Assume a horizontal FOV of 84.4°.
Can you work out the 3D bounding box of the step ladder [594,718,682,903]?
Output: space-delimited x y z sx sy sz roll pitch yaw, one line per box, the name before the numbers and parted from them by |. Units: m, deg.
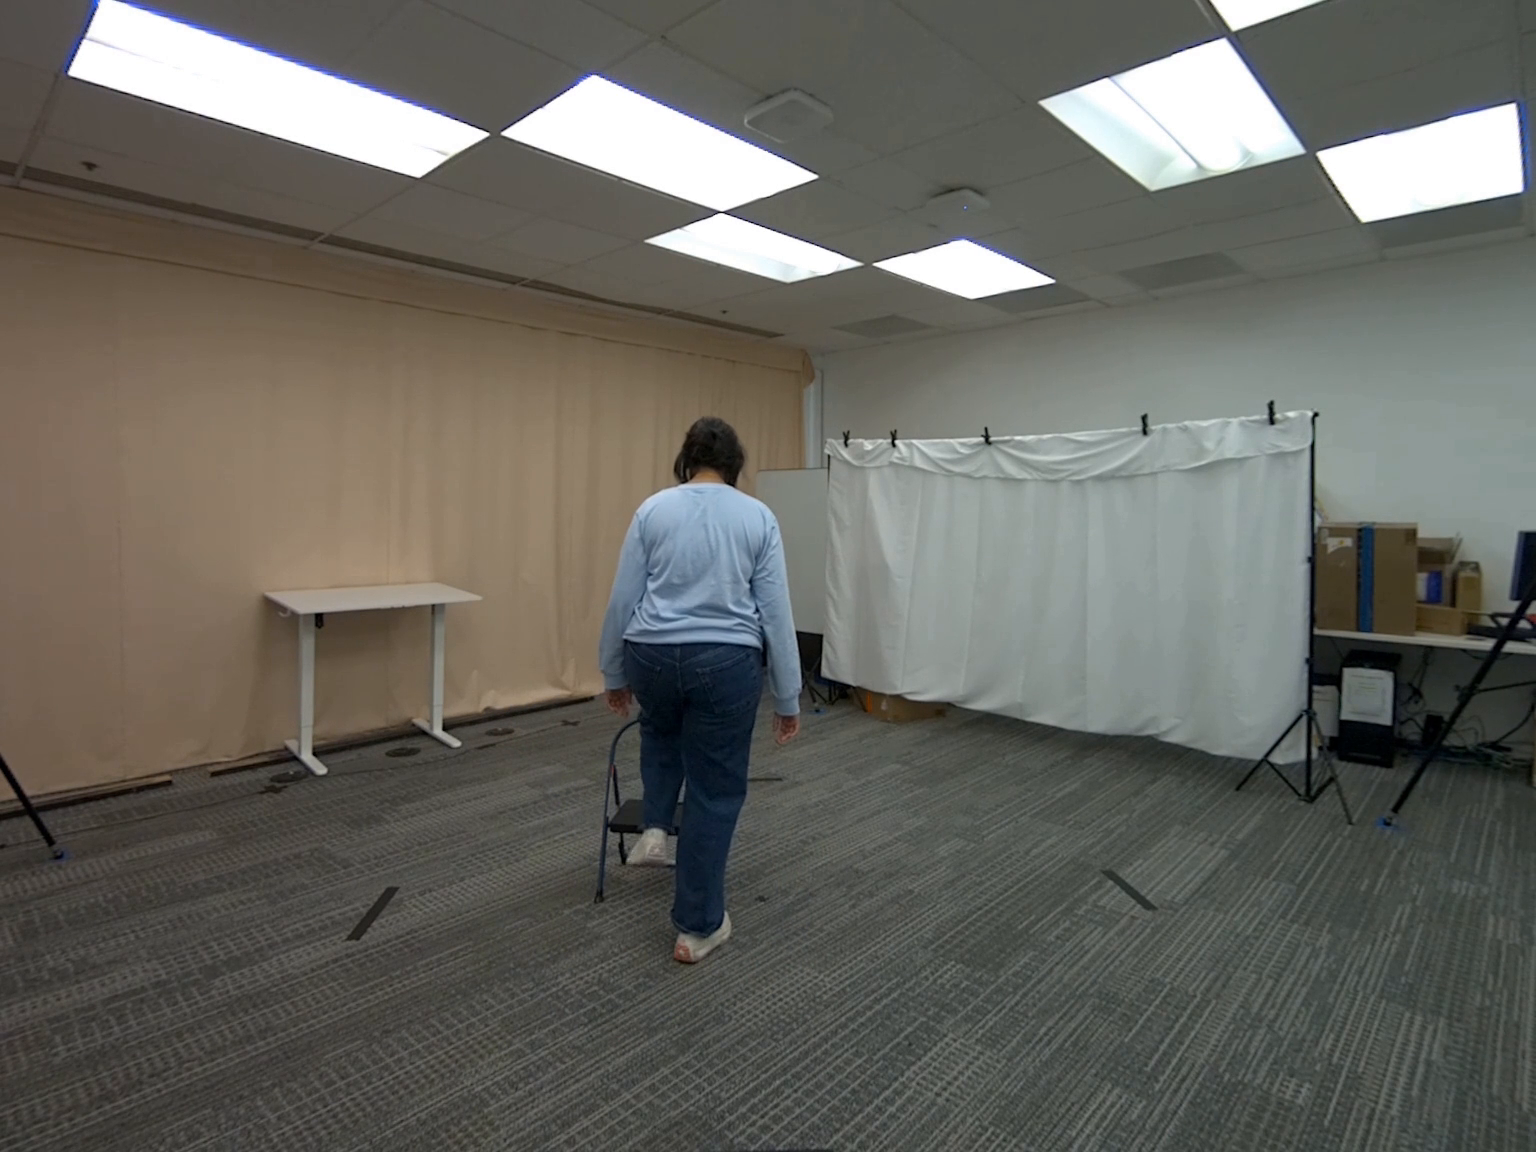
step ladder | -0.391 0.837 3.087 0.435 0.604 0.347 0 4 8
